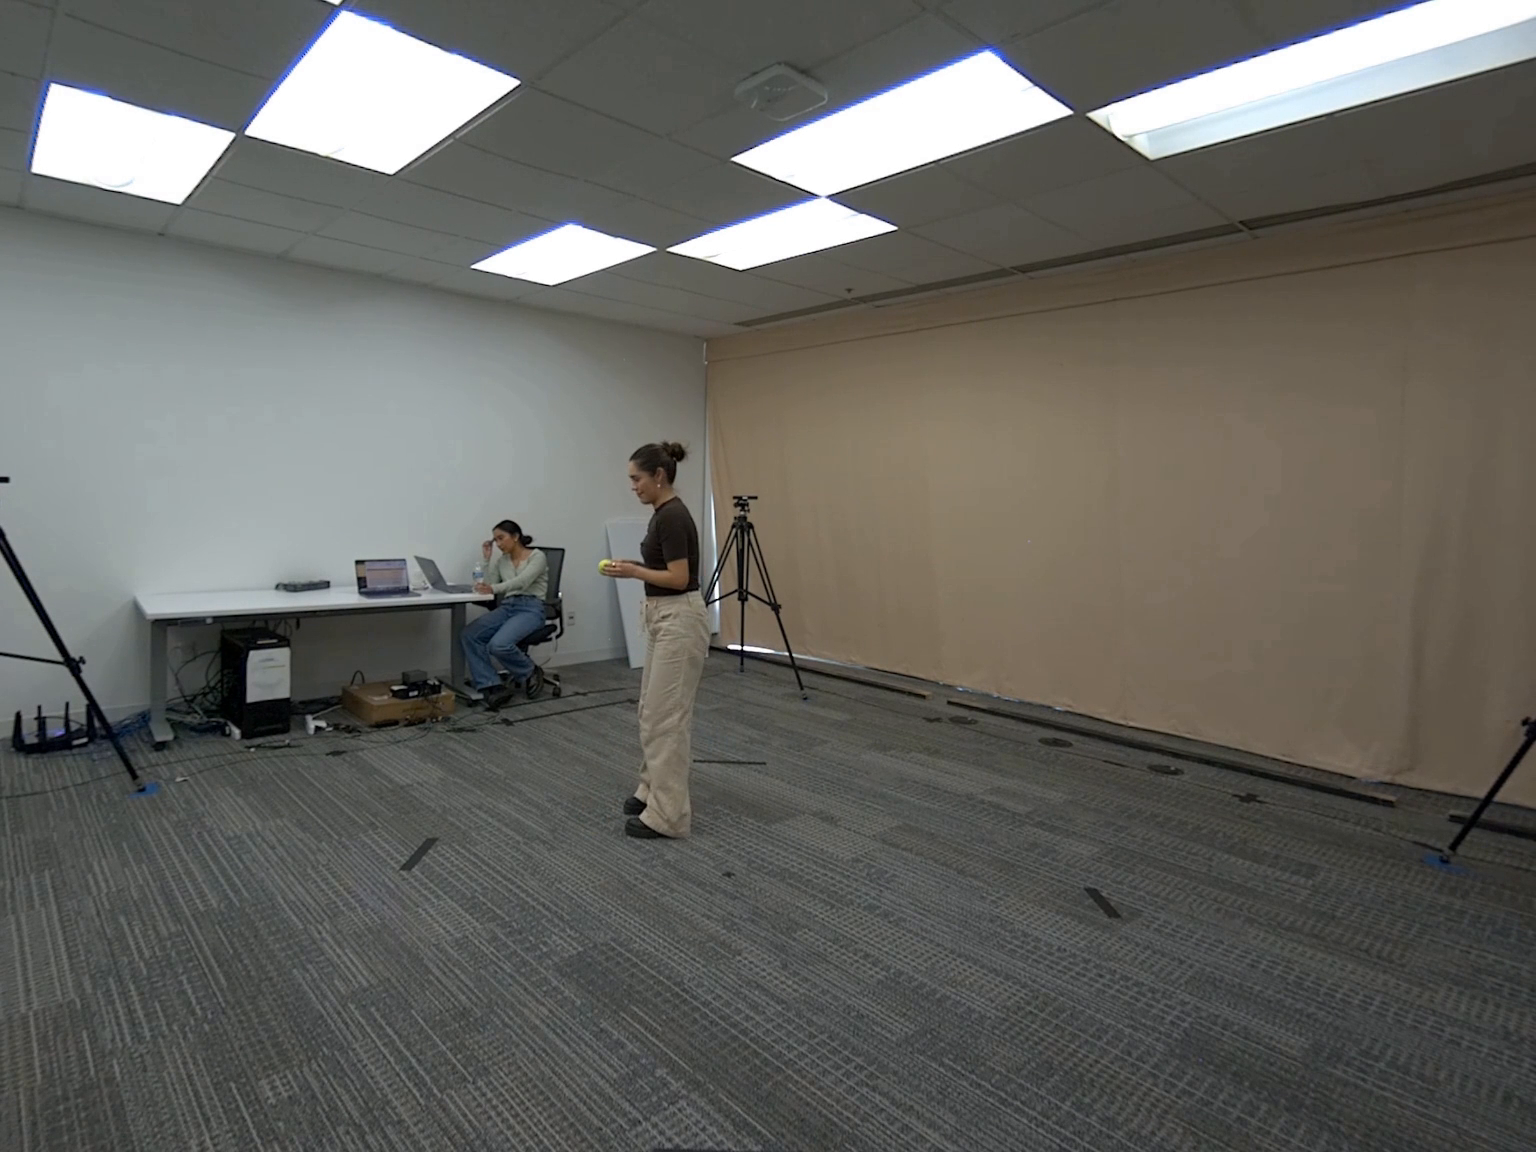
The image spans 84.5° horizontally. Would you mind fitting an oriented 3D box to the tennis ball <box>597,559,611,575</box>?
[{"bbox_3d":[-0.668,-0.036,3.540,0.066,0.066,0.067,1,4,-1],"label":"tennis ball"}]
